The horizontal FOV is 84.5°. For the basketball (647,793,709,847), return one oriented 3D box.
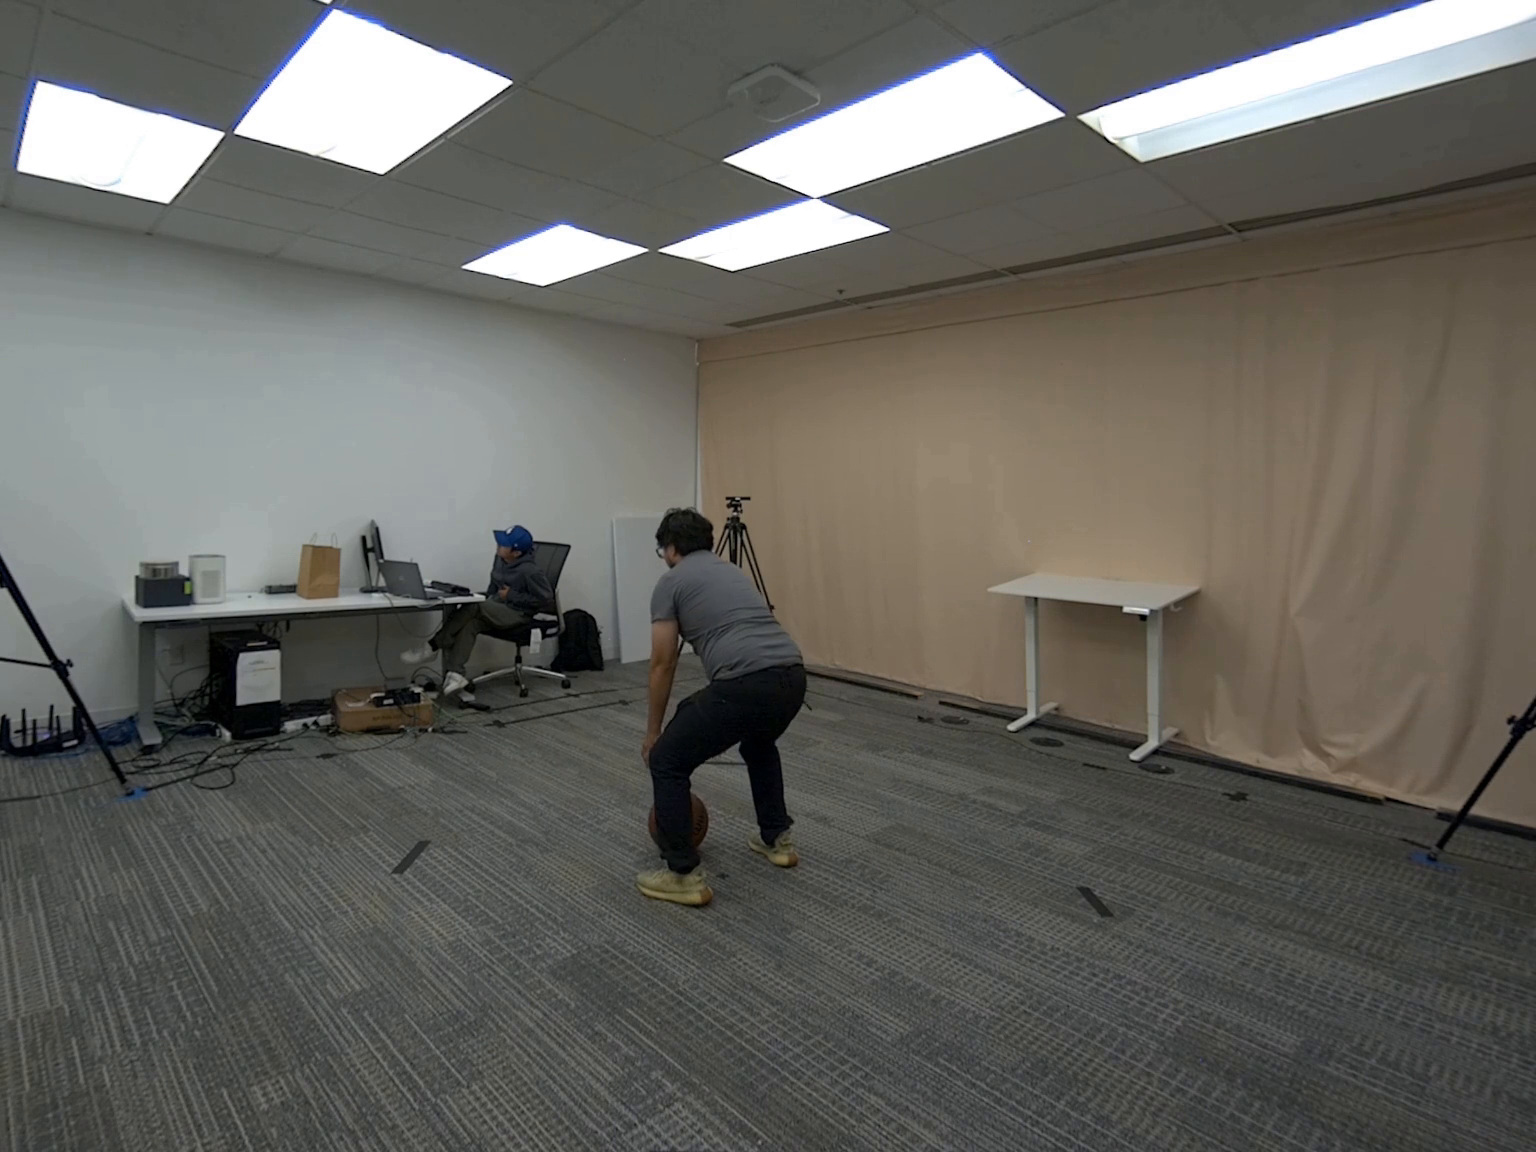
[{"bbox_3d":[-0.359,0.963,3.308,0.236,0.235,0.237,1,4,-1],"label":"basketball"}]
